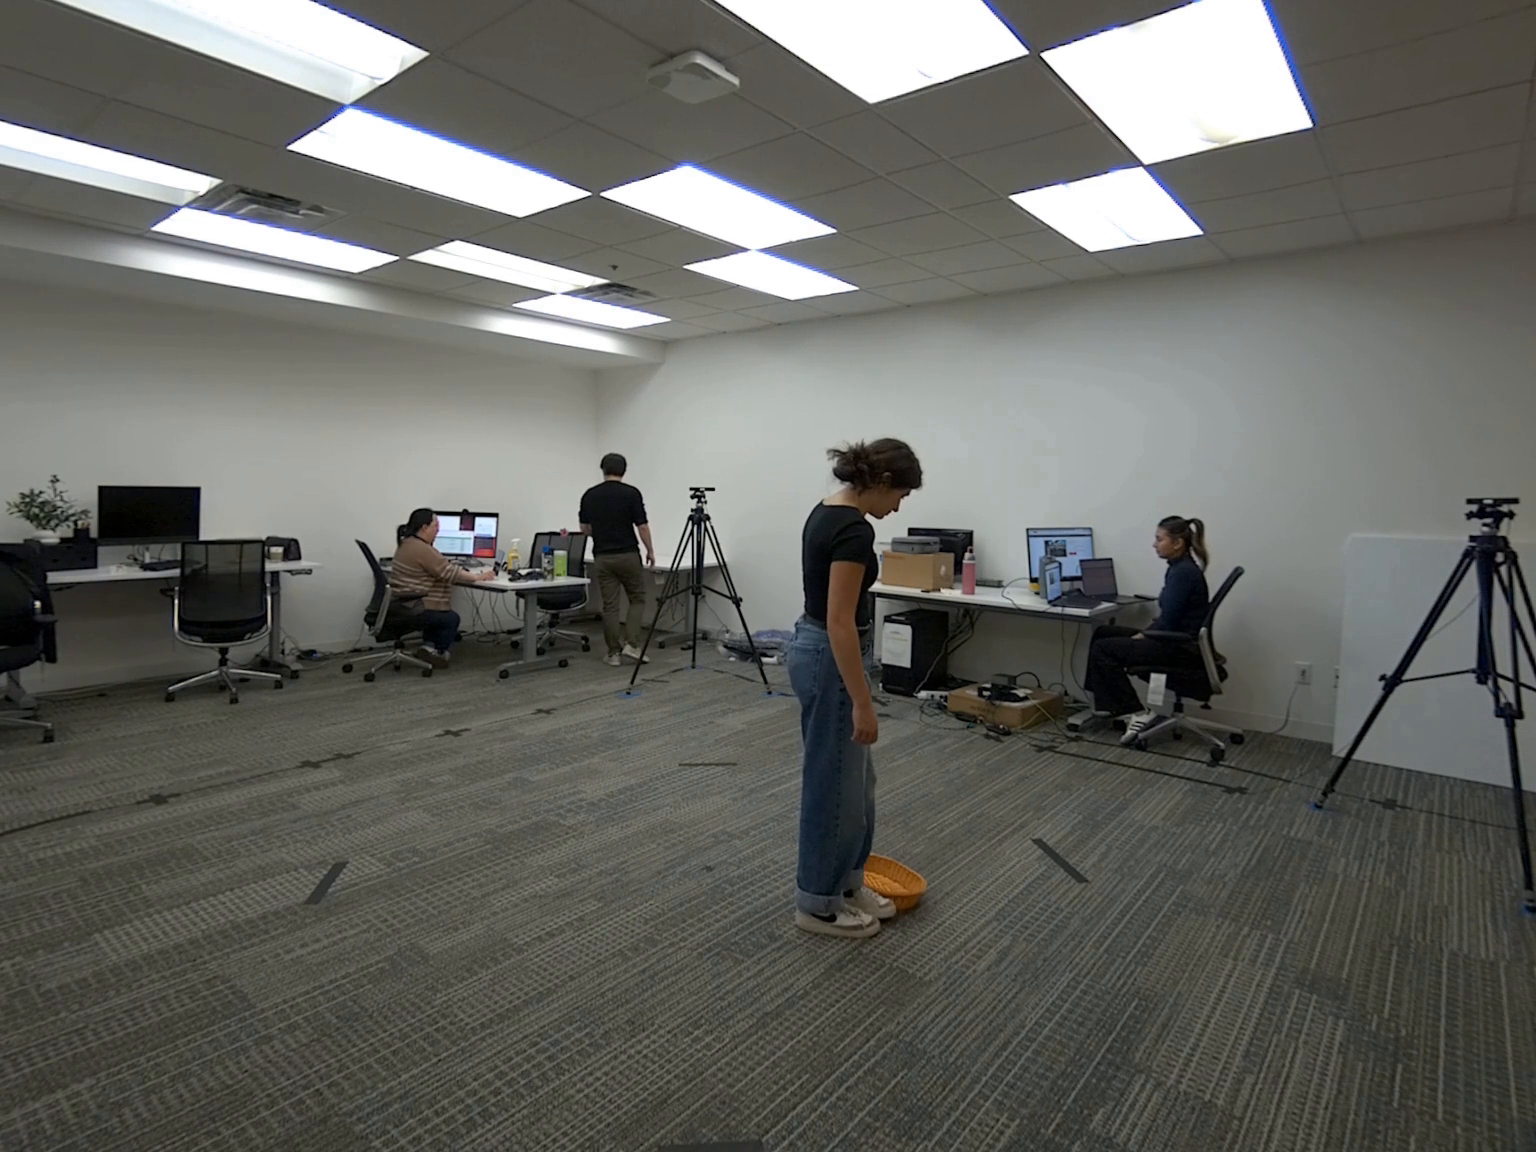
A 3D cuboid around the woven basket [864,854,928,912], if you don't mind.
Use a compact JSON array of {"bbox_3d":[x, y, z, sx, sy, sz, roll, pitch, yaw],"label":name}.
[{"bbox_3d":[0.383,1.054,2.957,0.245,0.073,0.361,1,4,-31],"label":"woven basket"}]
